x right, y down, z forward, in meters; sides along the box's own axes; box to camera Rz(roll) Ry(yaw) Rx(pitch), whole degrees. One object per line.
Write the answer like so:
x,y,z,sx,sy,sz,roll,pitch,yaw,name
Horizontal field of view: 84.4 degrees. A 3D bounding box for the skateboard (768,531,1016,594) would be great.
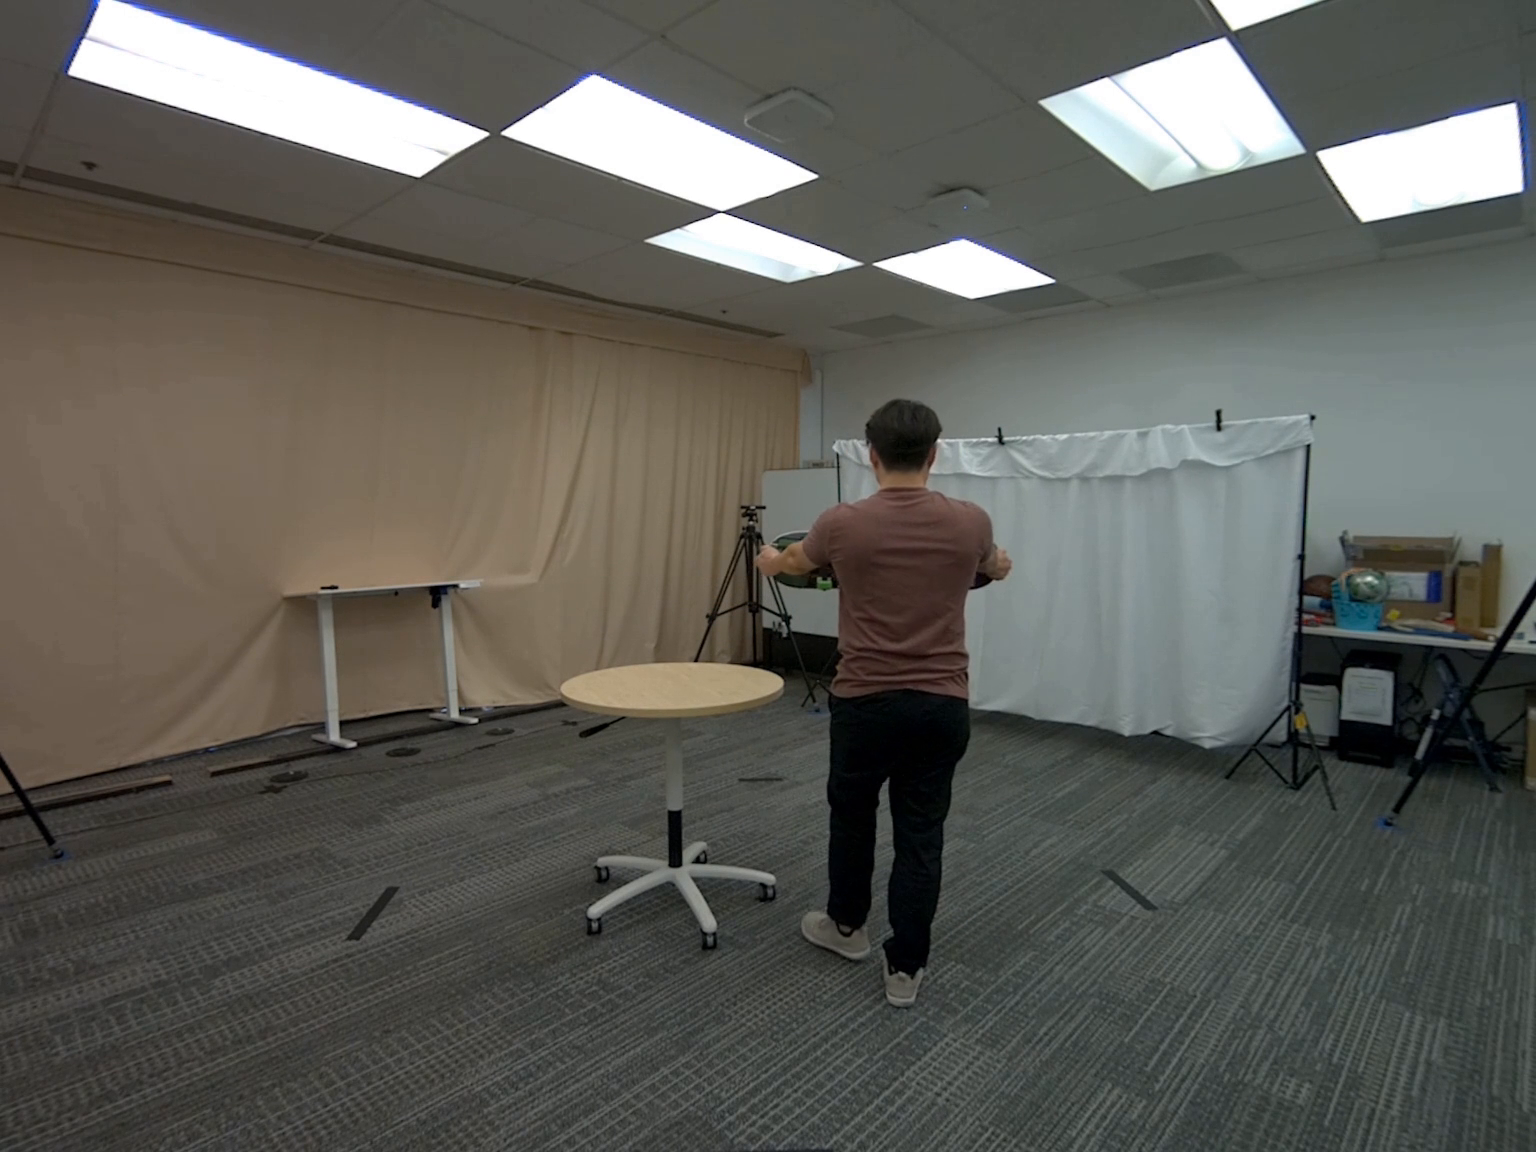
0.394,-0.048,2.793,0.789,0.193,0.110,0,6,4,skateboard
